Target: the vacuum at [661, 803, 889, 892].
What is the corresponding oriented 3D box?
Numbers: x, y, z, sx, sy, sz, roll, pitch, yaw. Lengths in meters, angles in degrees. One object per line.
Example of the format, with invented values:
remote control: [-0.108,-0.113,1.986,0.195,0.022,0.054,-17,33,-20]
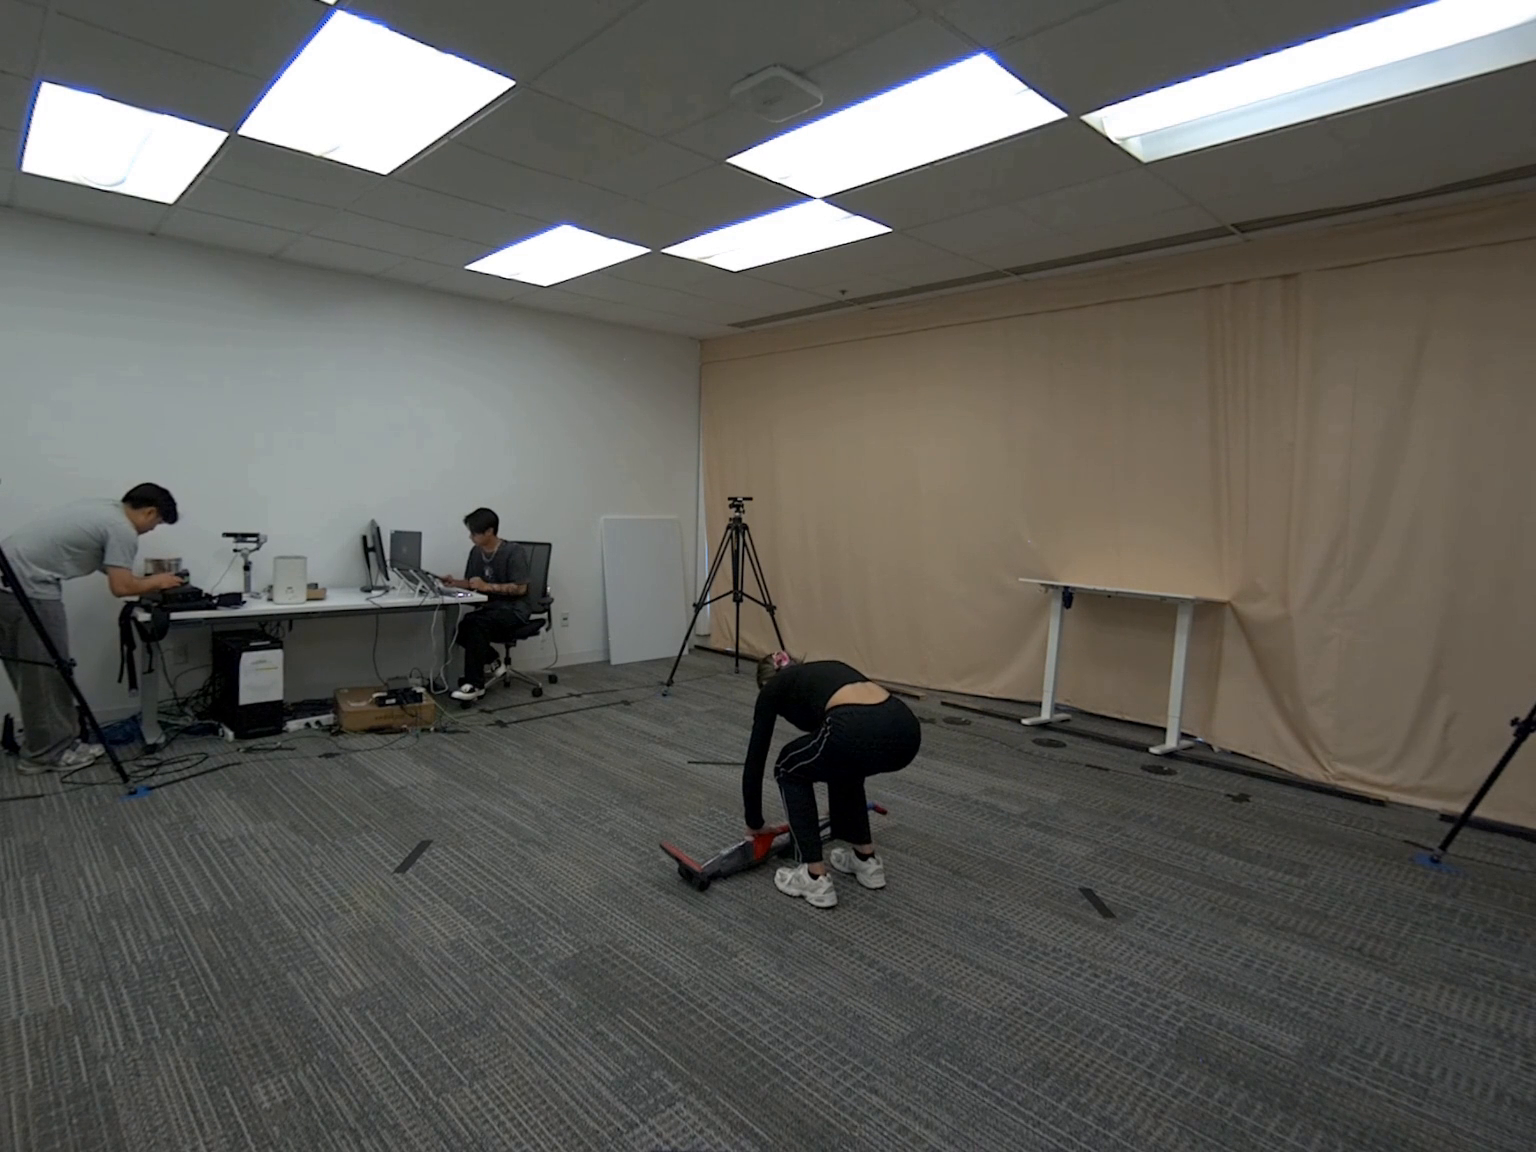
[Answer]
vacuum: [0.095,1.030,3.324,1.025,0.143,0.259,0,9,-39]
